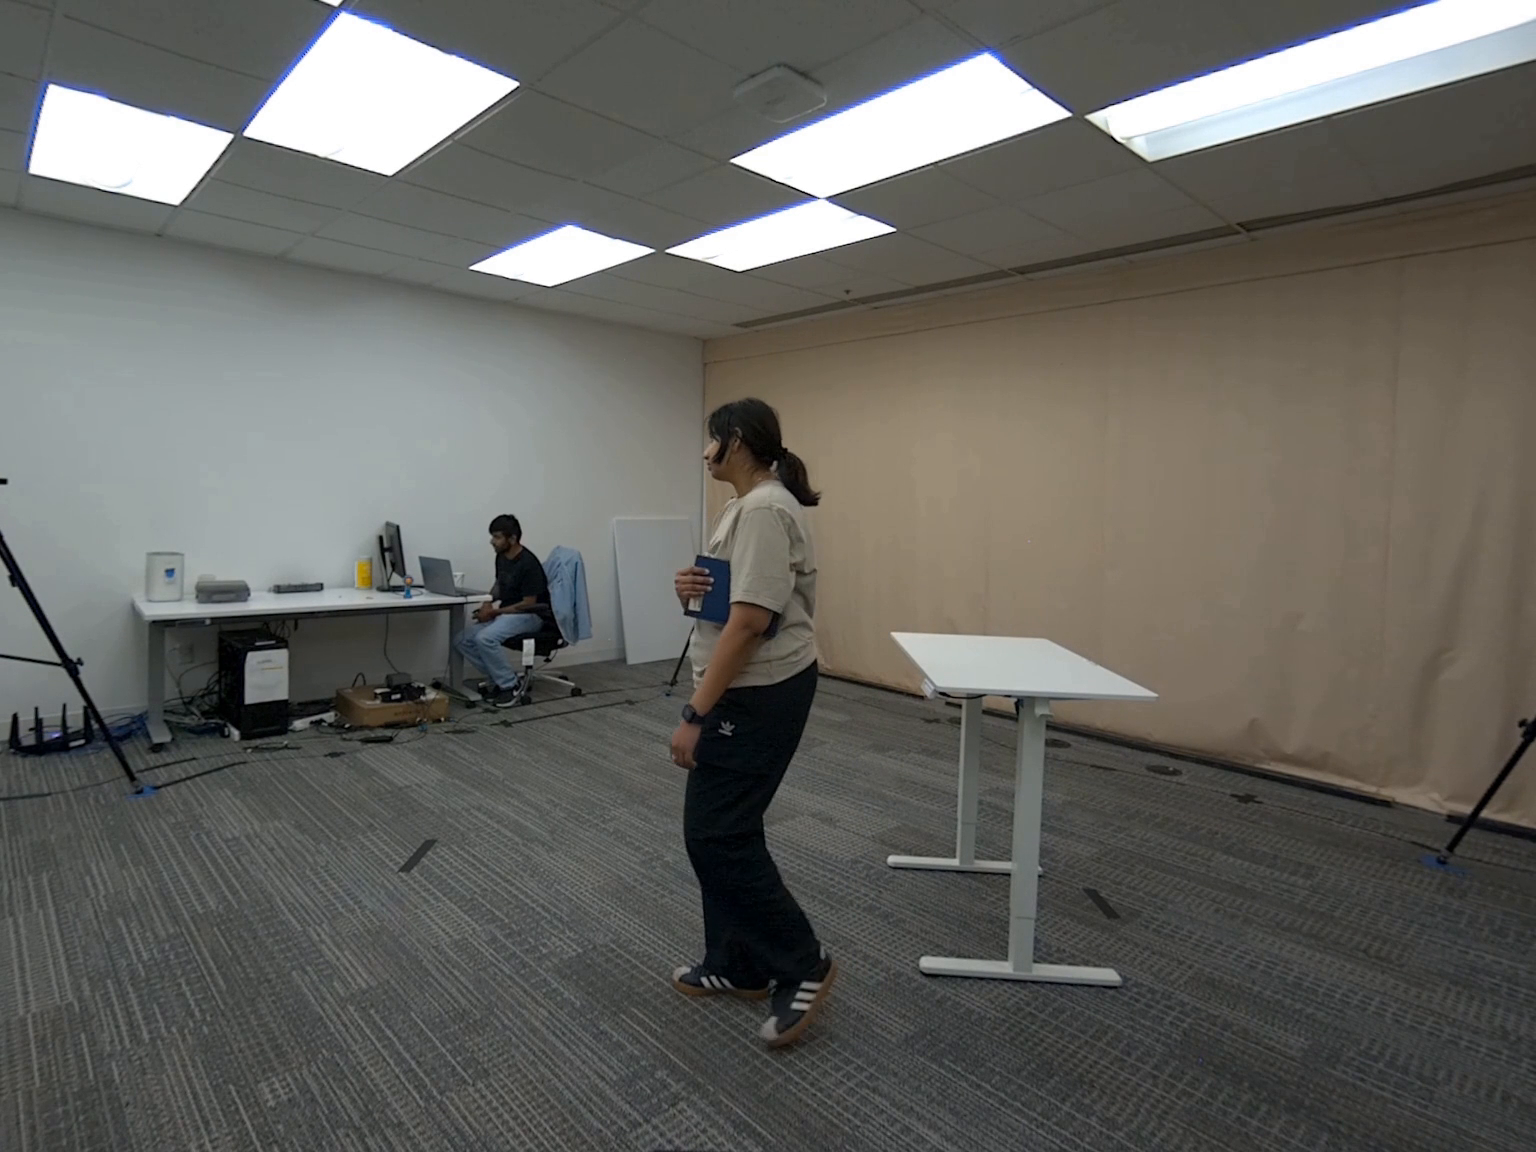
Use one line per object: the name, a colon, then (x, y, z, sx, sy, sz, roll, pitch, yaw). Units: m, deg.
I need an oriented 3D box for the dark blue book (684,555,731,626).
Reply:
dark blue book: (-0.090, 0.045, 2.178, 0.248, 0.163, 0.044, 12, -2, 14)
